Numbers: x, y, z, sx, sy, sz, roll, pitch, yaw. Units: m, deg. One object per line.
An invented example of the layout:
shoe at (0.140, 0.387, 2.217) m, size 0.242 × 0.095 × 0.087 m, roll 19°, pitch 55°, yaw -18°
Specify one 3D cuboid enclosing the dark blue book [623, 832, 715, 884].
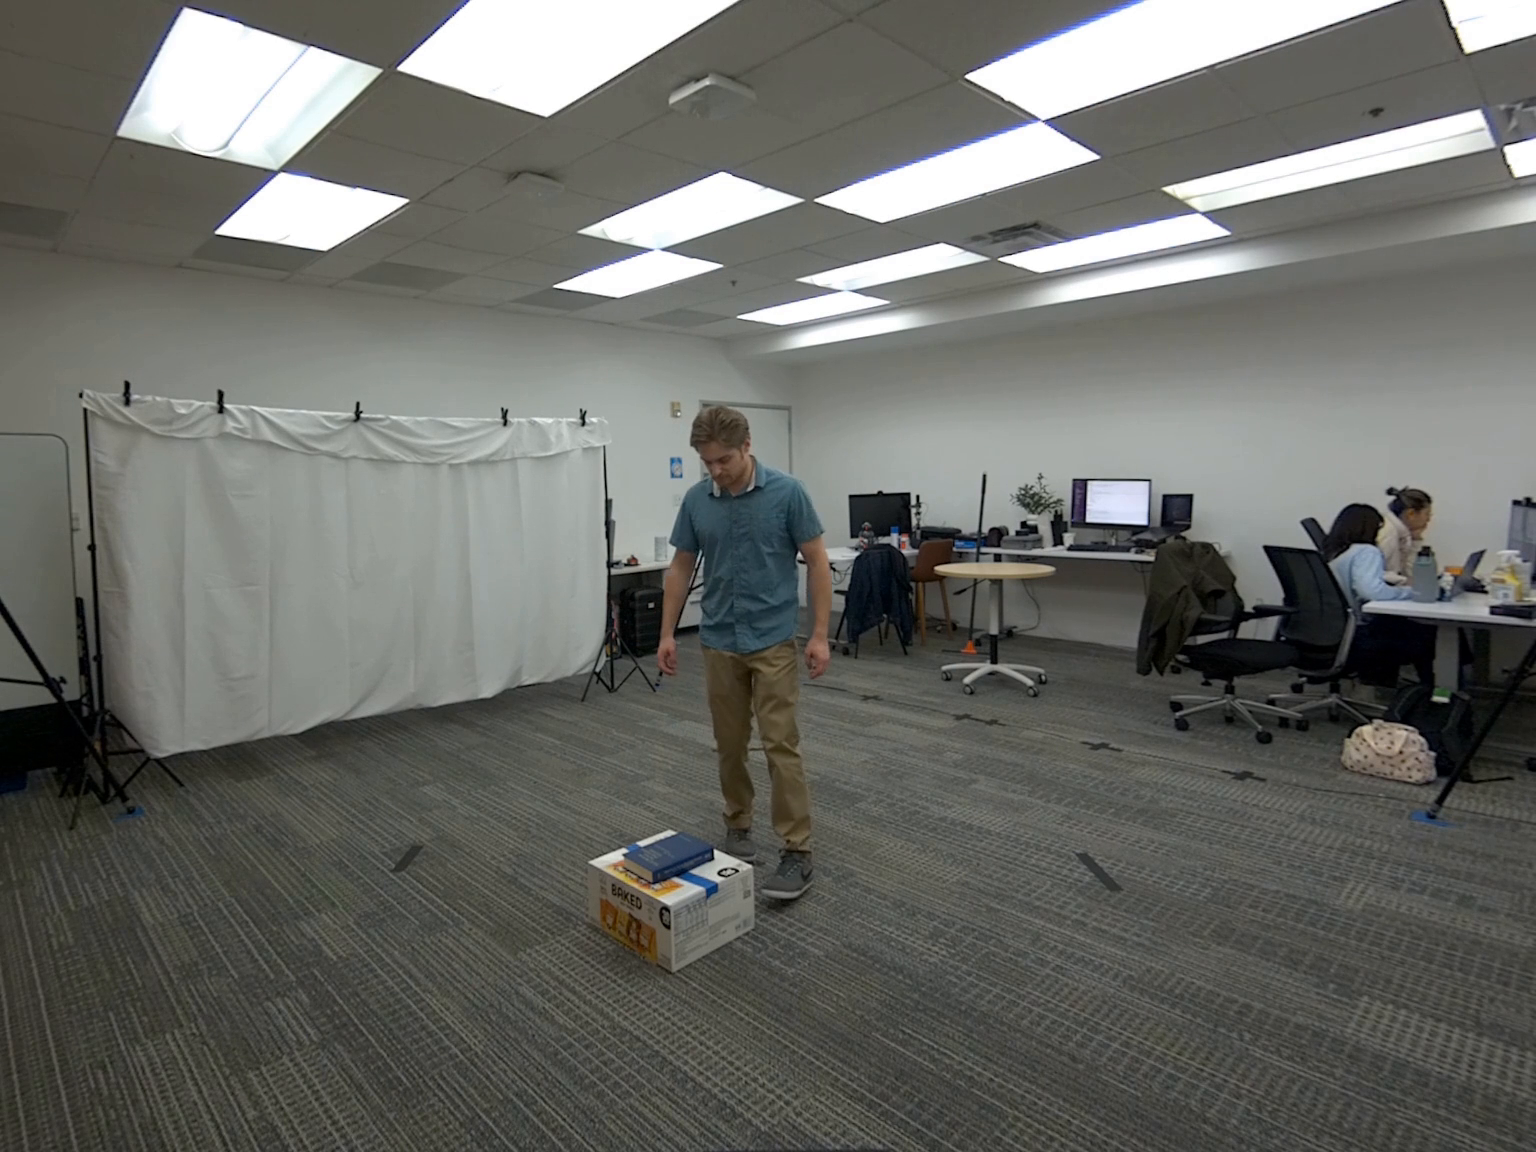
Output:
dark blue book at (-0.320, 0.893, 2.675) m, size 0.239 × 0.045 × 0.168 m, roll -8°, pitch 9°, yaw -43°
